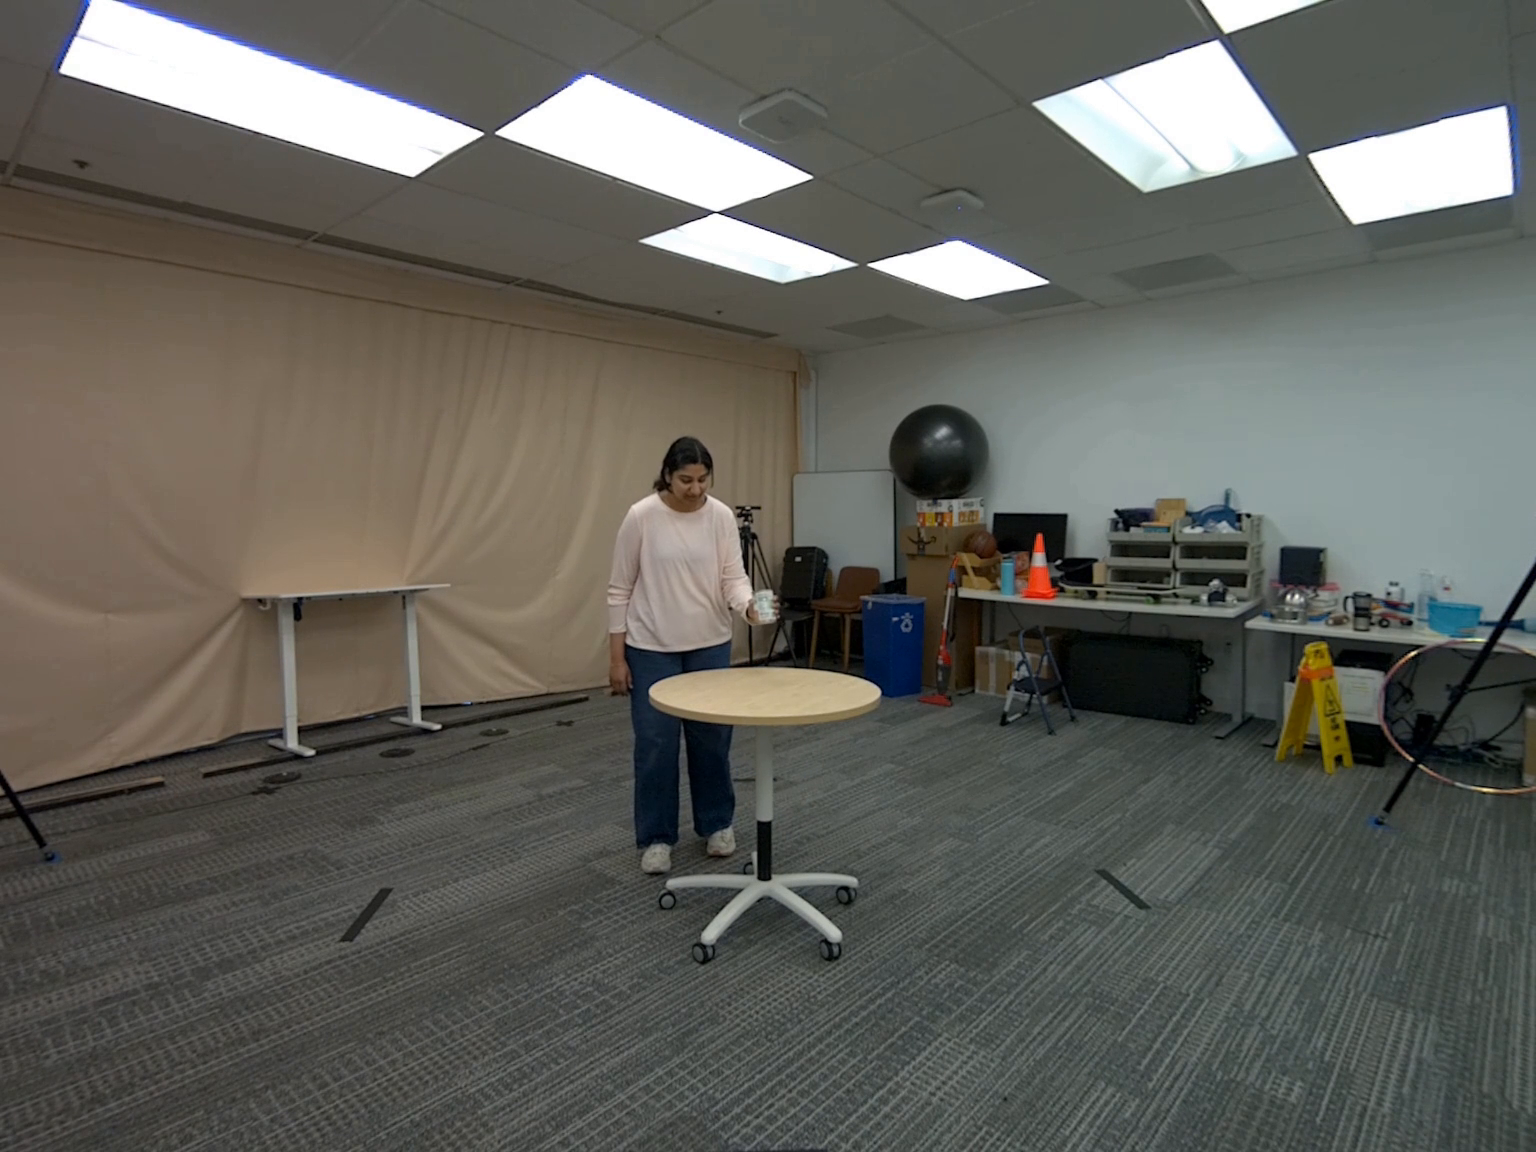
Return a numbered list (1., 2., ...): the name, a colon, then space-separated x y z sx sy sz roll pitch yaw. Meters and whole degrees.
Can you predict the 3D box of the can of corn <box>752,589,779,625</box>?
1. can of corn: -0.014 0.112 2.937 0.074 0.112 0.074 -4 -8 -2
